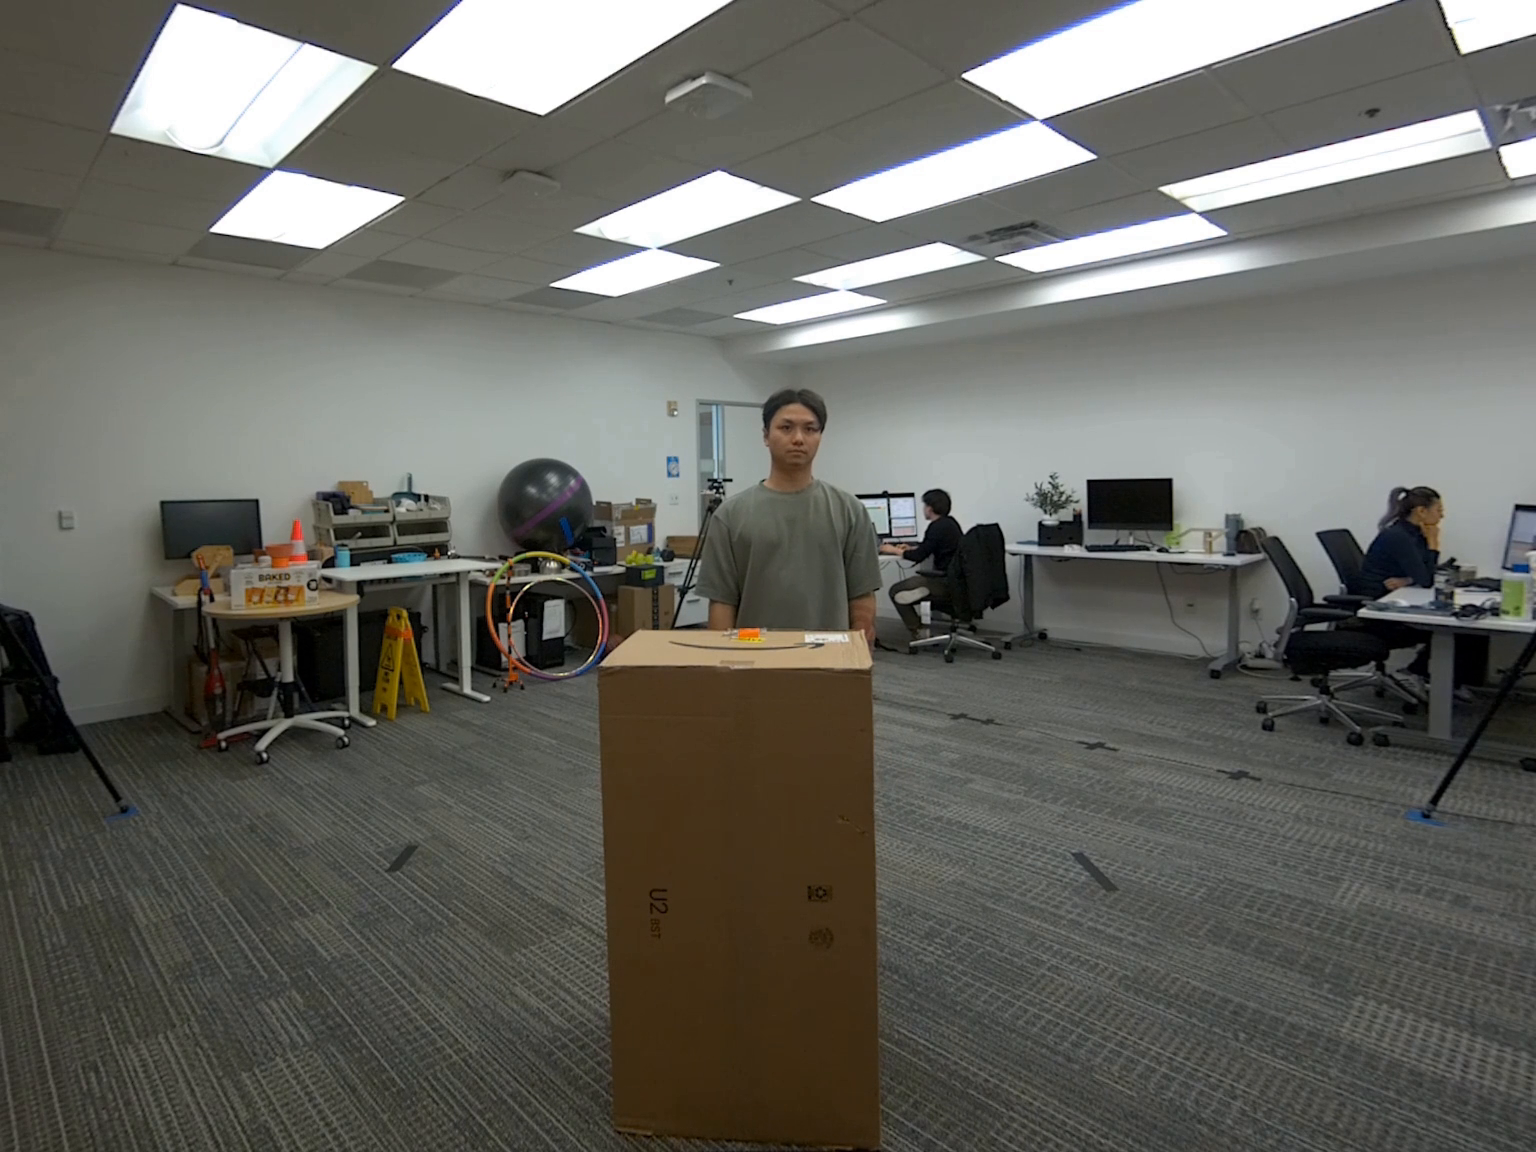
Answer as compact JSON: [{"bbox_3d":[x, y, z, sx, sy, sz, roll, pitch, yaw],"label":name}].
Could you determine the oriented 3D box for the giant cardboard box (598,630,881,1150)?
[{"bbox_3d":[-0.039,0.674,1.978,0.581,1.021,0.425,-1,5,5],"label":"giant cardboard box"}]
